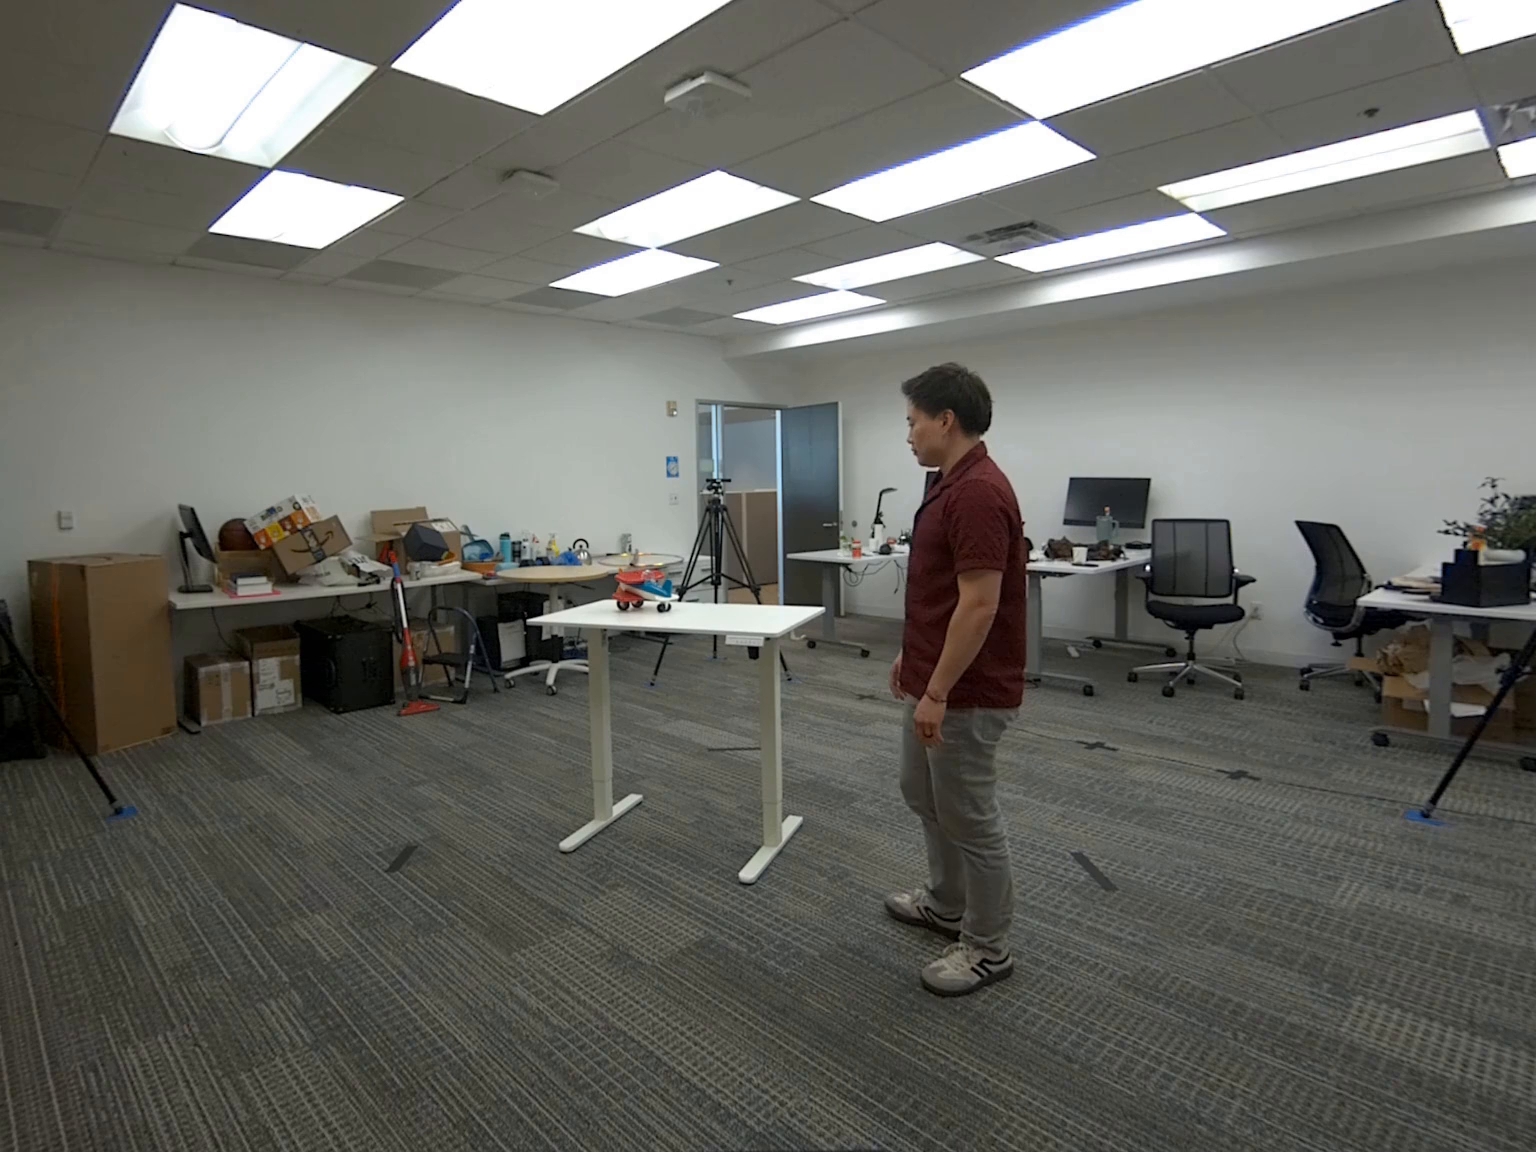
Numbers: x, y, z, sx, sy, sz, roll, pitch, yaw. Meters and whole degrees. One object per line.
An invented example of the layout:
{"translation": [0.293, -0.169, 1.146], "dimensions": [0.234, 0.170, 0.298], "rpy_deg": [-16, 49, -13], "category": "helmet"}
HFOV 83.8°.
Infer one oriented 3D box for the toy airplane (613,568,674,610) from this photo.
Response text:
{"translation": [-0.479, 0.061, 3.428], "dimensions": [0.261, 0.156, 0.250], "rpy_deg": [-1, 4, 6], "category": "toy airplane"}
